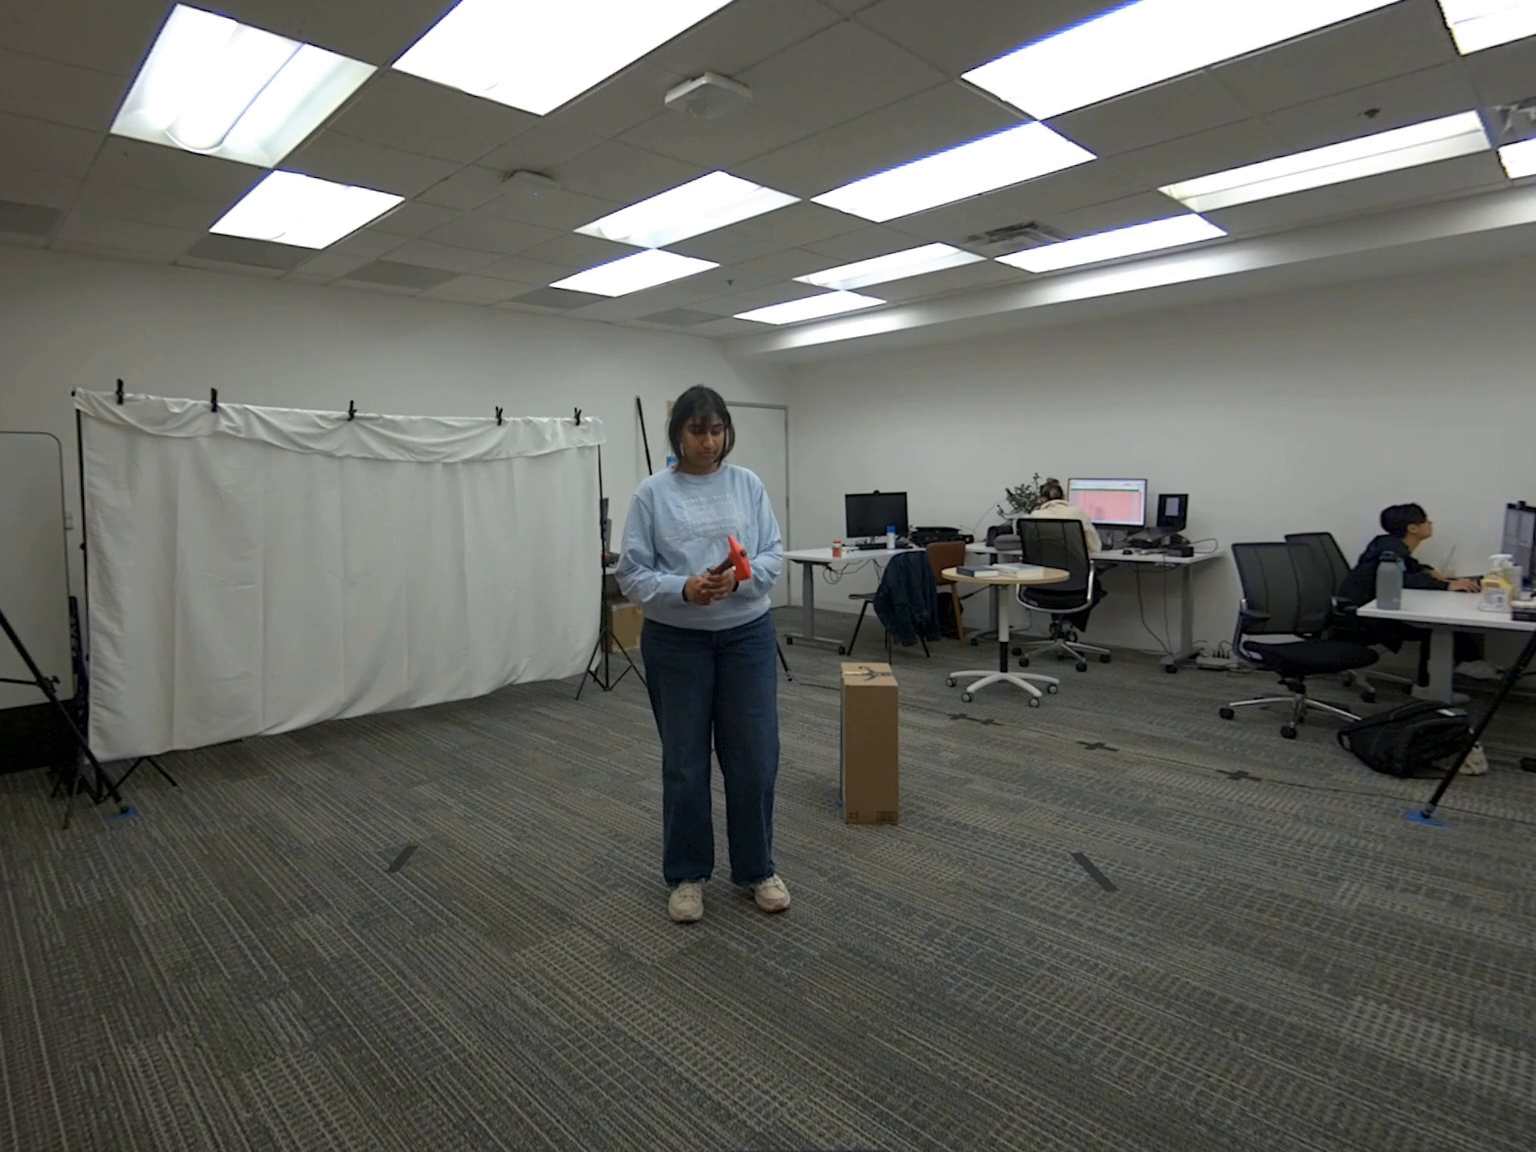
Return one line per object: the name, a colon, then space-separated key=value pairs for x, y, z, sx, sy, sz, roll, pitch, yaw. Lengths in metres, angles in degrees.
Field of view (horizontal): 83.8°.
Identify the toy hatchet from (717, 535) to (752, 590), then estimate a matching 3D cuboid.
toy hatchet: x=-0.126 y=0.000 z=2.451 sx=0.029 sy=0.267 sz=0.135 roll=-21 pitch=60 yaw=-43
